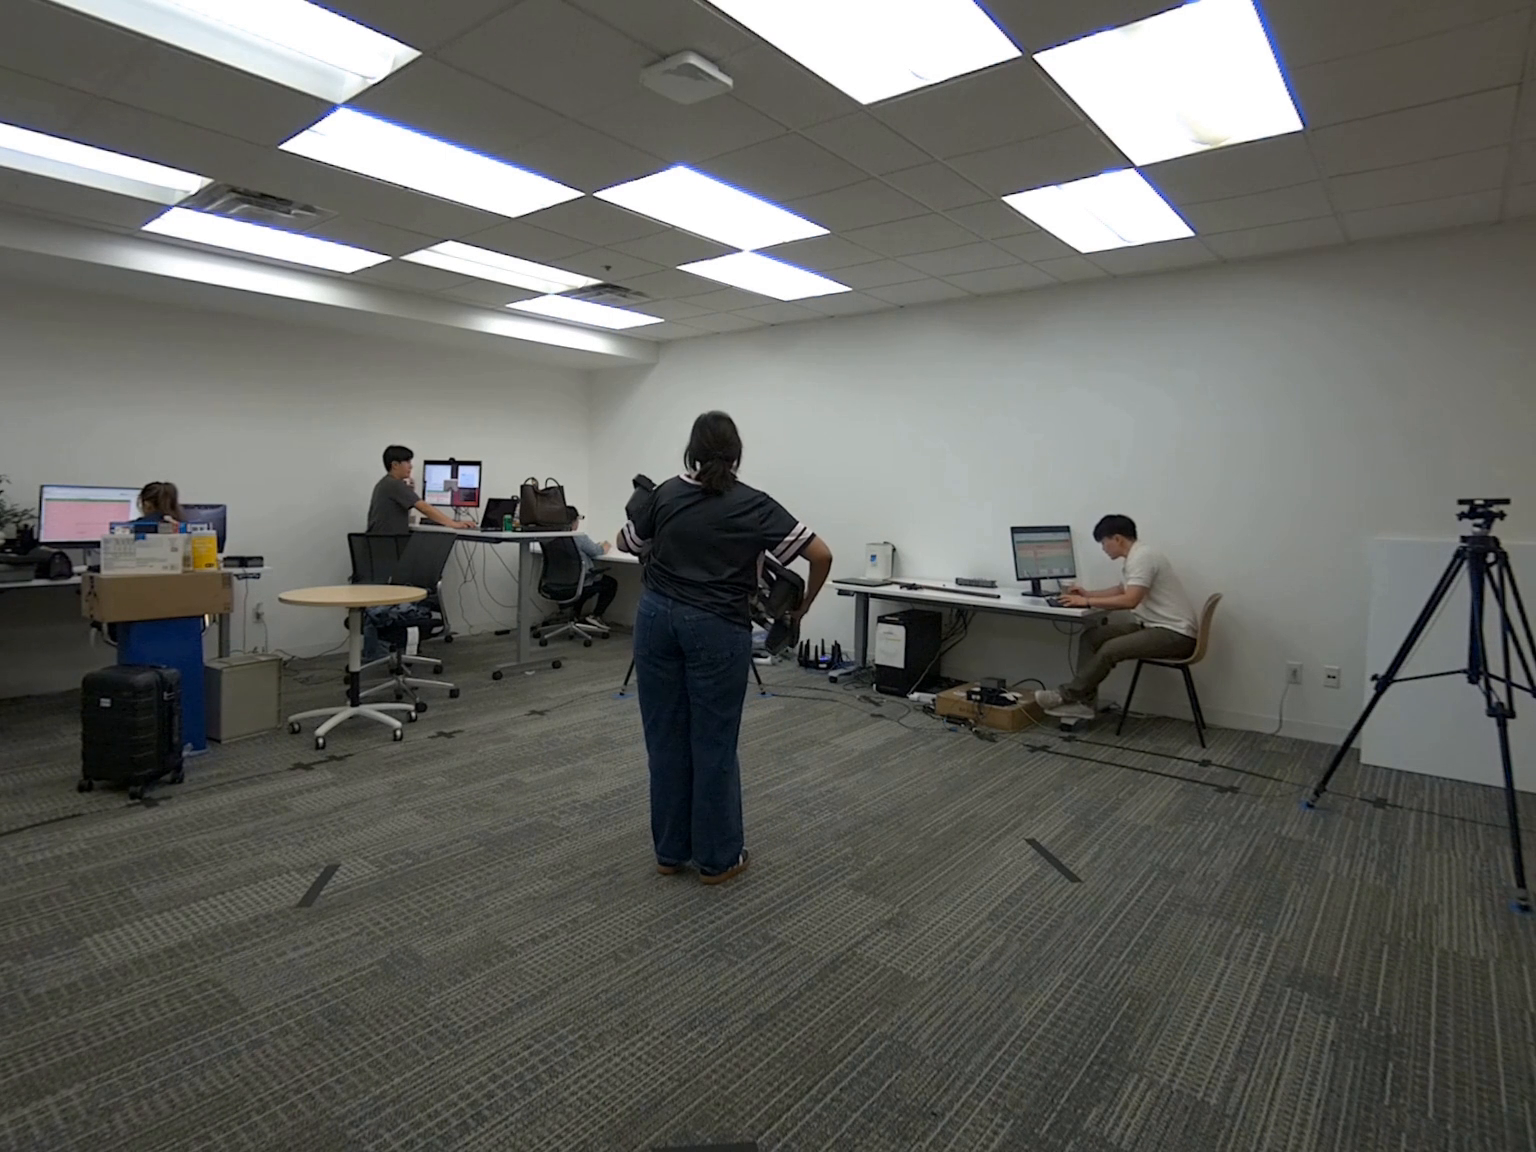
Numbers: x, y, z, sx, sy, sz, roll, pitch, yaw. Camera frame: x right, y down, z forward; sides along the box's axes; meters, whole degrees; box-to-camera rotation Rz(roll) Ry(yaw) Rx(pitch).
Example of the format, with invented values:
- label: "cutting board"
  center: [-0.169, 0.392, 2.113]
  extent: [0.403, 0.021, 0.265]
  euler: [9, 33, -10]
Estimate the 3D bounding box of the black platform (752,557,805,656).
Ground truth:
- label: "black platform"
  center: [-0.243, -0.024, 3.427]
  extent: [0.827, 0.143, 0.589]
  euler: [34, -22, 18]
